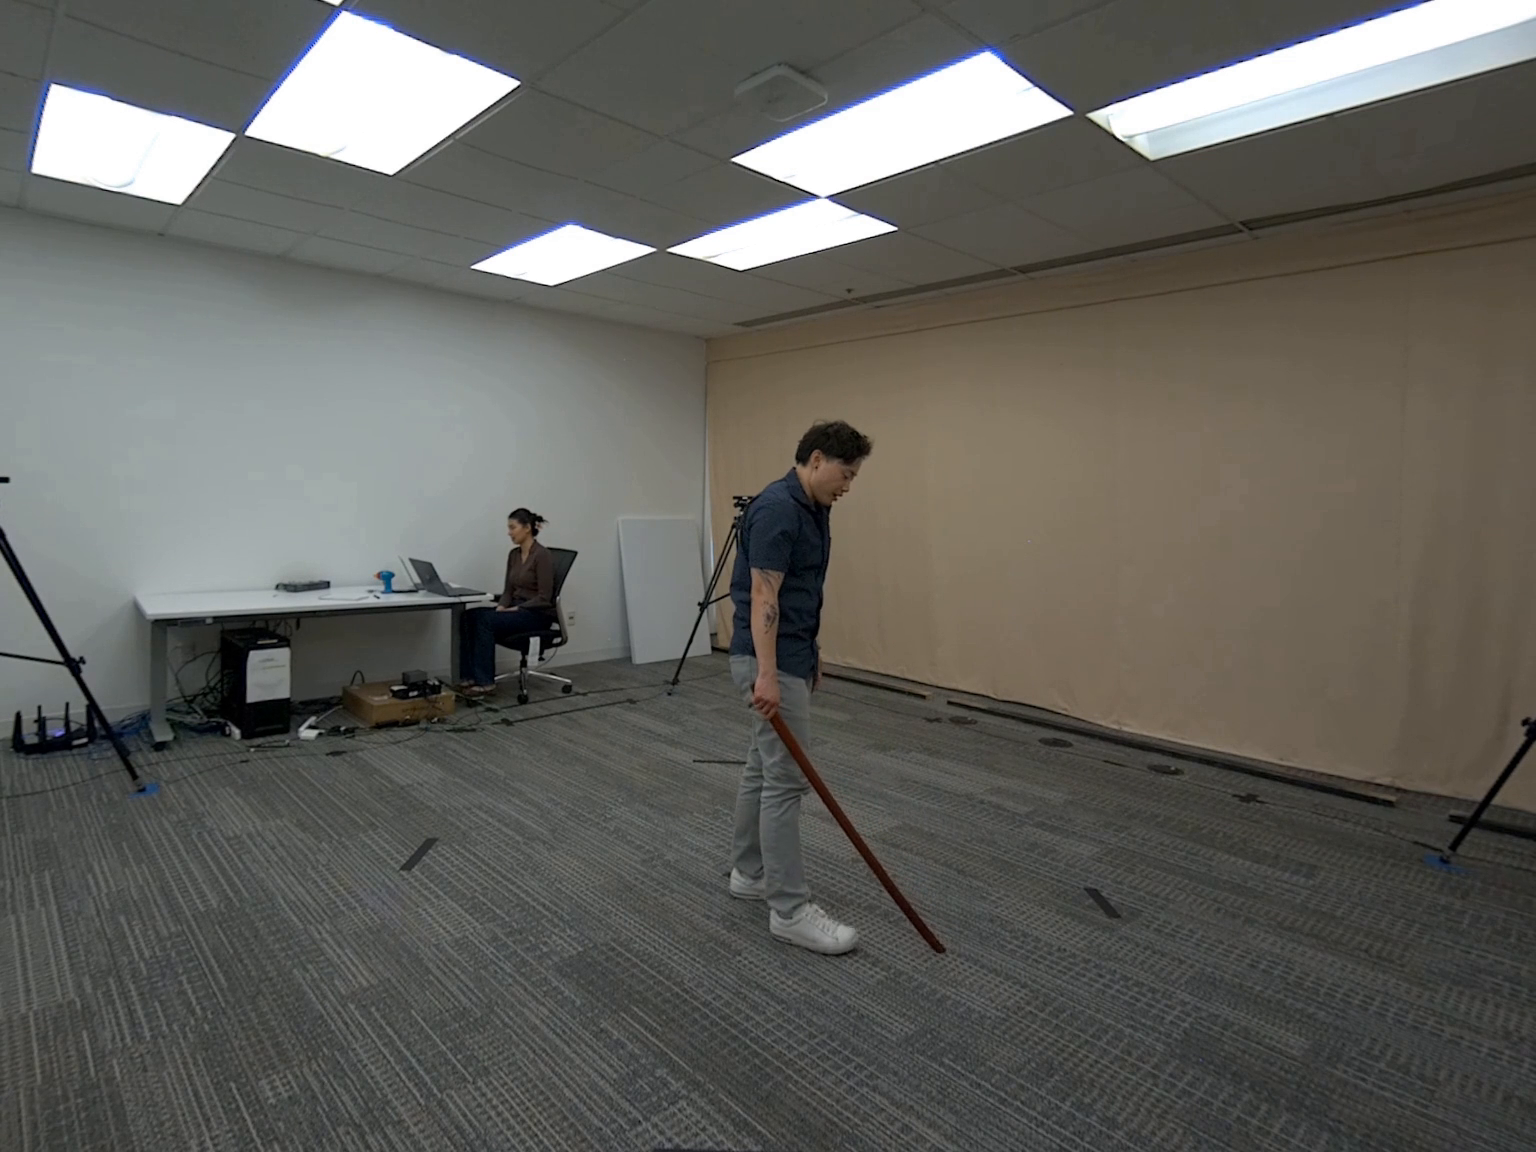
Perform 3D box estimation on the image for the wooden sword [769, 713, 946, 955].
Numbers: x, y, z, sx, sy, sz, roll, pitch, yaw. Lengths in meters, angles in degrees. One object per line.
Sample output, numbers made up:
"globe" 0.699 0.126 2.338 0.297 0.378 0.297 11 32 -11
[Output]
"wooden sword" 0.248 0.770 2.595 0.024 1.022 0.051 -36 3 -13
